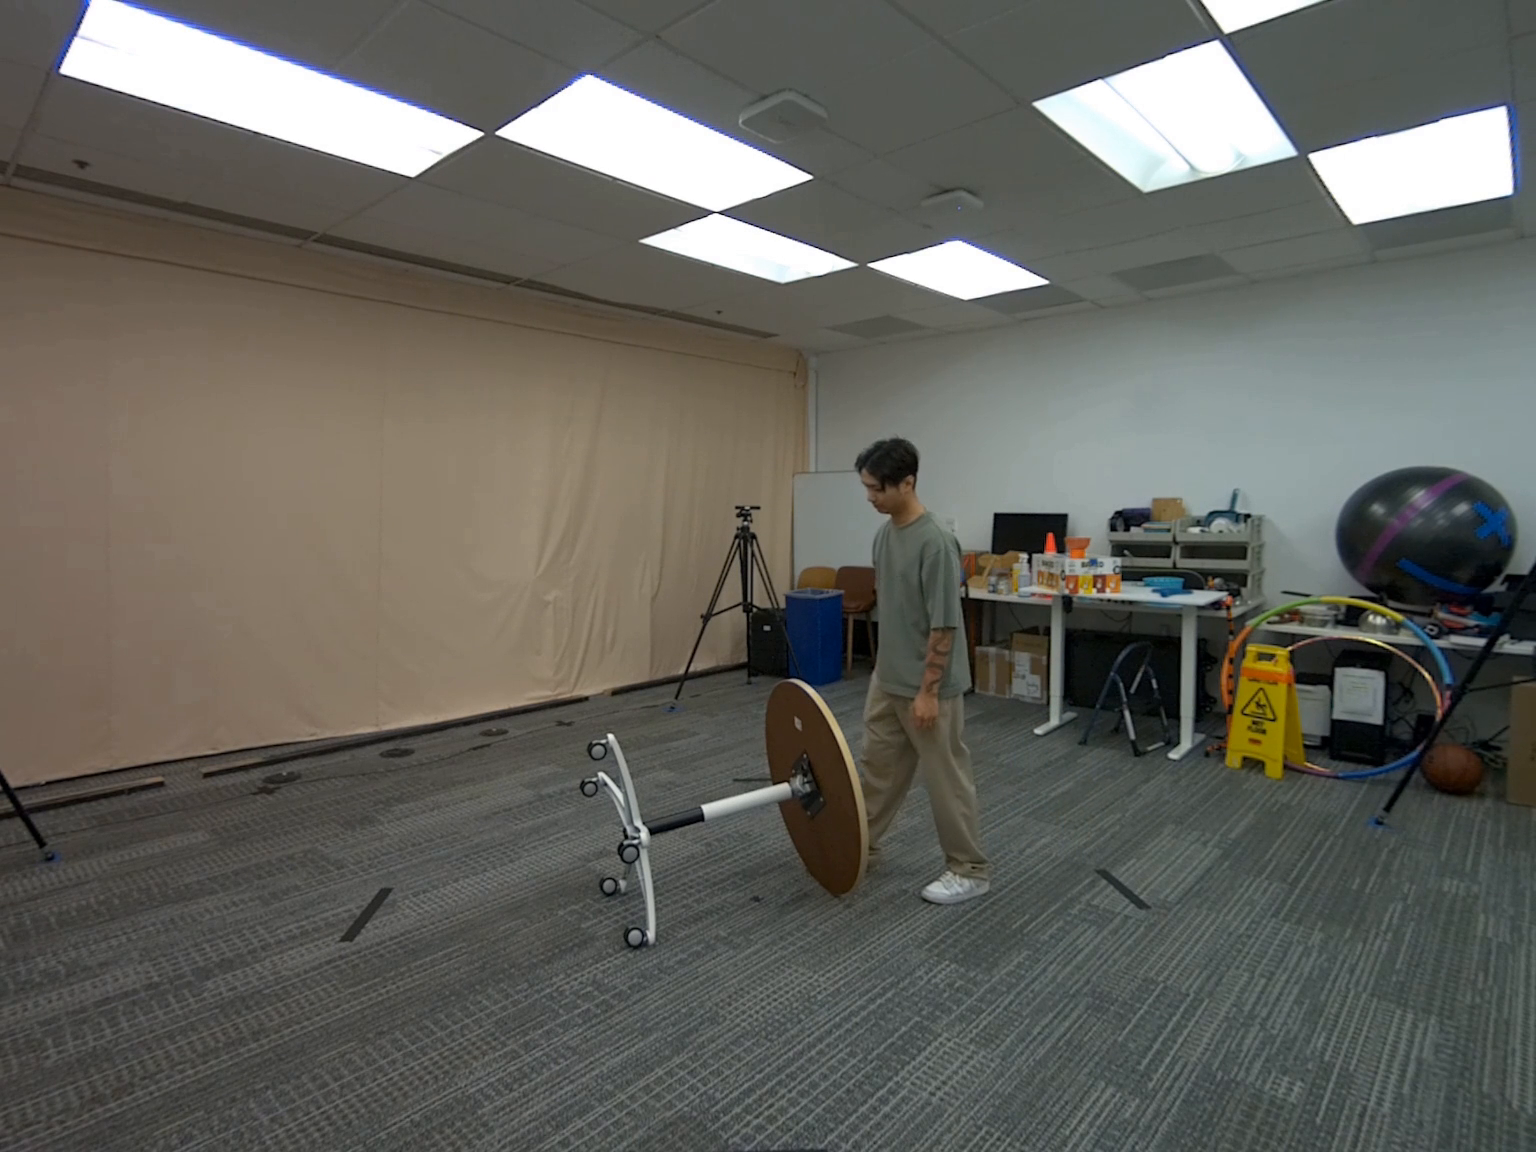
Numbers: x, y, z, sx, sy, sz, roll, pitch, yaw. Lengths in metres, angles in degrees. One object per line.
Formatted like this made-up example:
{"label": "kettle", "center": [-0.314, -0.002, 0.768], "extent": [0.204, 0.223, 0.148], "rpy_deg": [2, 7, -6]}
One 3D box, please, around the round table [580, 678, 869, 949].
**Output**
{"label": "round table", "center": [-0.193, 0.815, 2.944], "extent": [0.773, 0.782, 0.803], "rpy_deg": [-9, 6, -20]}
